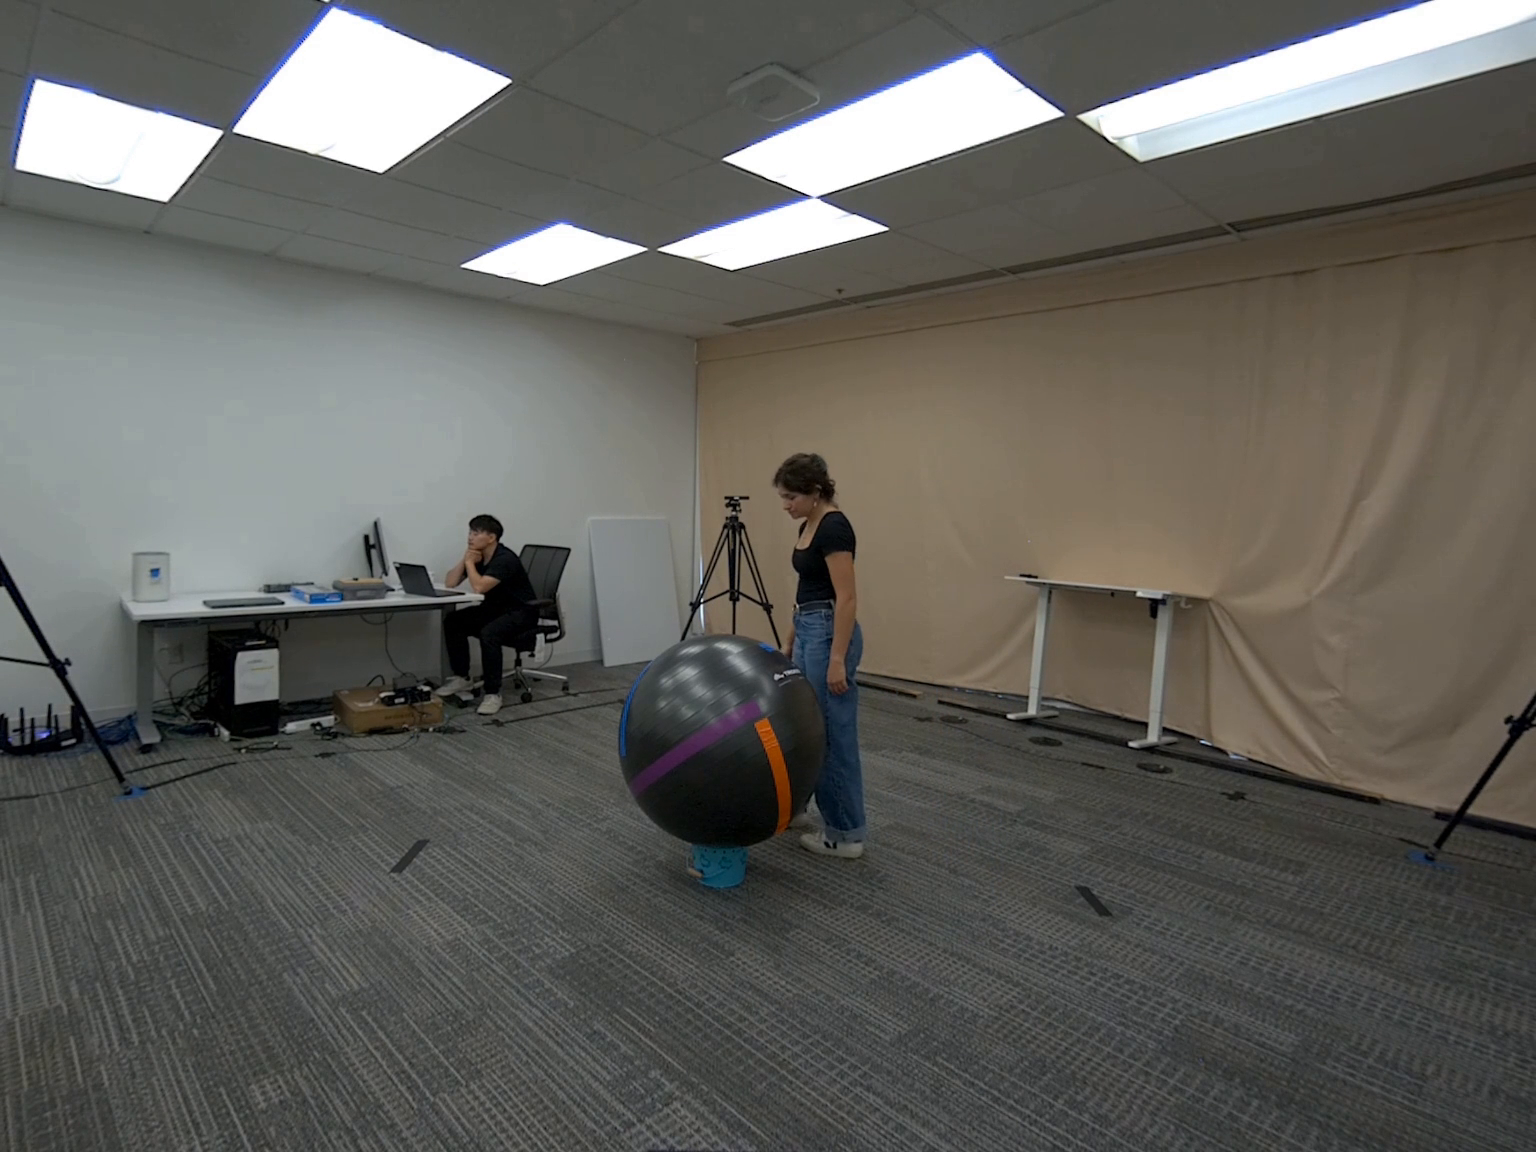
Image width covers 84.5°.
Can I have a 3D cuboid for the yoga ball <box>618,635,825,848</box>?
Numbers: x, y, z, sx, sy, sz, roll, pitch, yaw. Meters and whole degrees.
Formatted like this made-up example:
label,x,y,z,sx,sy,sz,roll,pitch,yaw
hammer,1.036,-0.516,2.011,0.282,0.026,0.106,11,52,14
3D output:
label,x,y,z,sx,sy,sz,roll,pitch,yaw
yoga ball,-0.176,0.596,3.065,0.757,0.756,0.761,1,4,-1
